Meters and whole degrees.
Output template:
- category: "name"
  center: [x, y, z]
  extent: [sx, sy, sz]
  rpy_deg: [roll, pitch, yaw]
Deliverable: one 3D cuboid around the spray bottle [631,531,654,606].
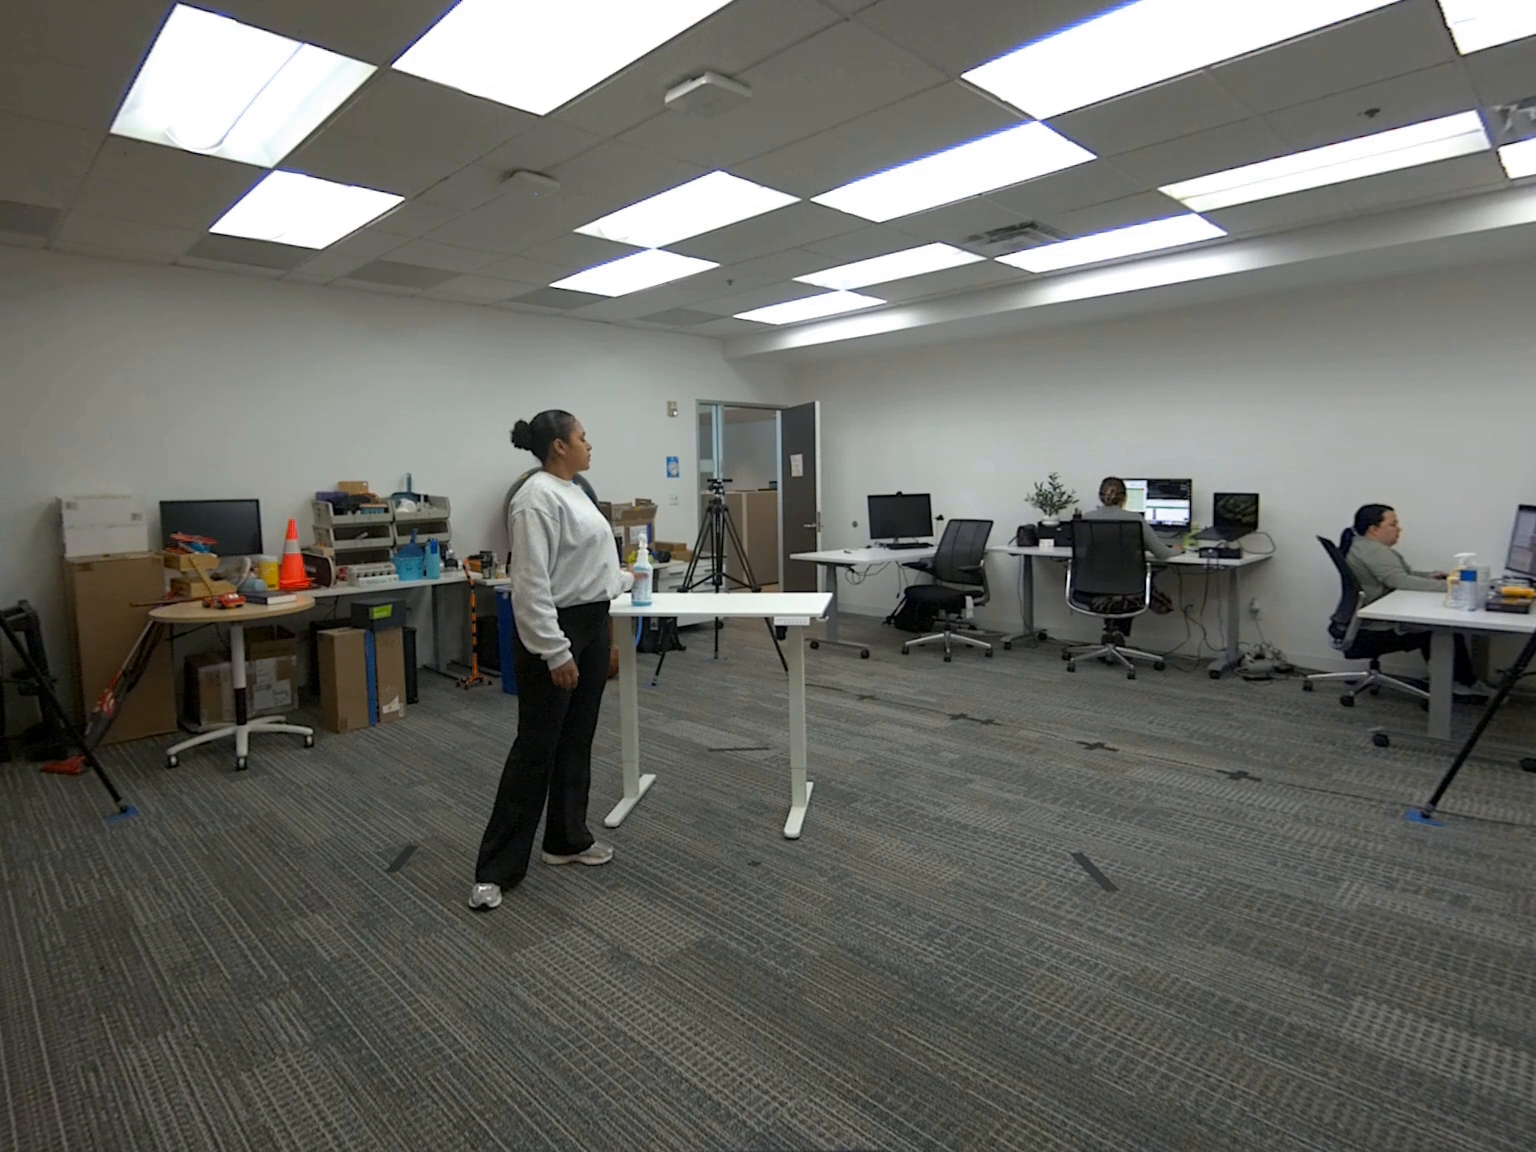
- category: "spray bottle"
  center: [-0.519, -0.029, 3.560]
  extent: [0.089, 0.297, 0.088]
  rpy_deg: [3, 2, 29]
